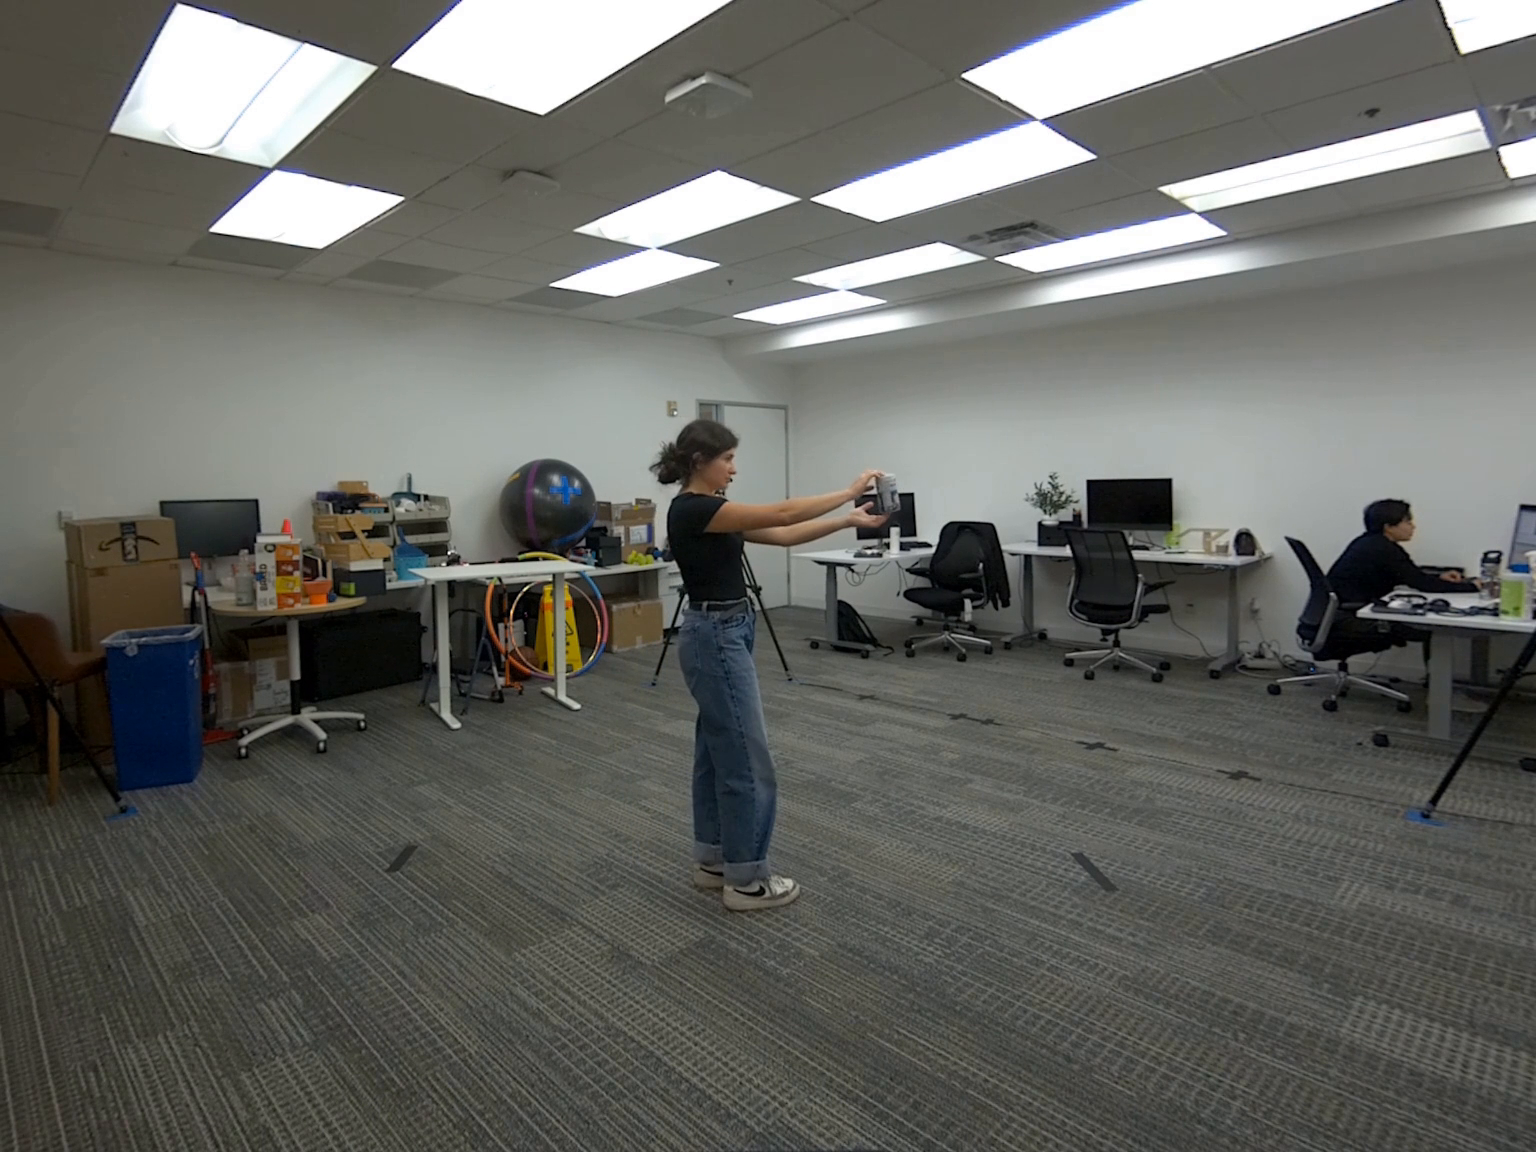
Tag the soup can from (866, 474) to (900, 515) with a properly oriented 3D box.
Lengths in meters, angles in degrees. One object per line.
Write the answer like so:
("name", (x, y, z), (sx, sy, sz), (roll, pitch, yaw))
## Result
("soup can", (0.390, -0.270, 2.800), (0.067, 0.121, 0.067), (-11, 5, -1))
